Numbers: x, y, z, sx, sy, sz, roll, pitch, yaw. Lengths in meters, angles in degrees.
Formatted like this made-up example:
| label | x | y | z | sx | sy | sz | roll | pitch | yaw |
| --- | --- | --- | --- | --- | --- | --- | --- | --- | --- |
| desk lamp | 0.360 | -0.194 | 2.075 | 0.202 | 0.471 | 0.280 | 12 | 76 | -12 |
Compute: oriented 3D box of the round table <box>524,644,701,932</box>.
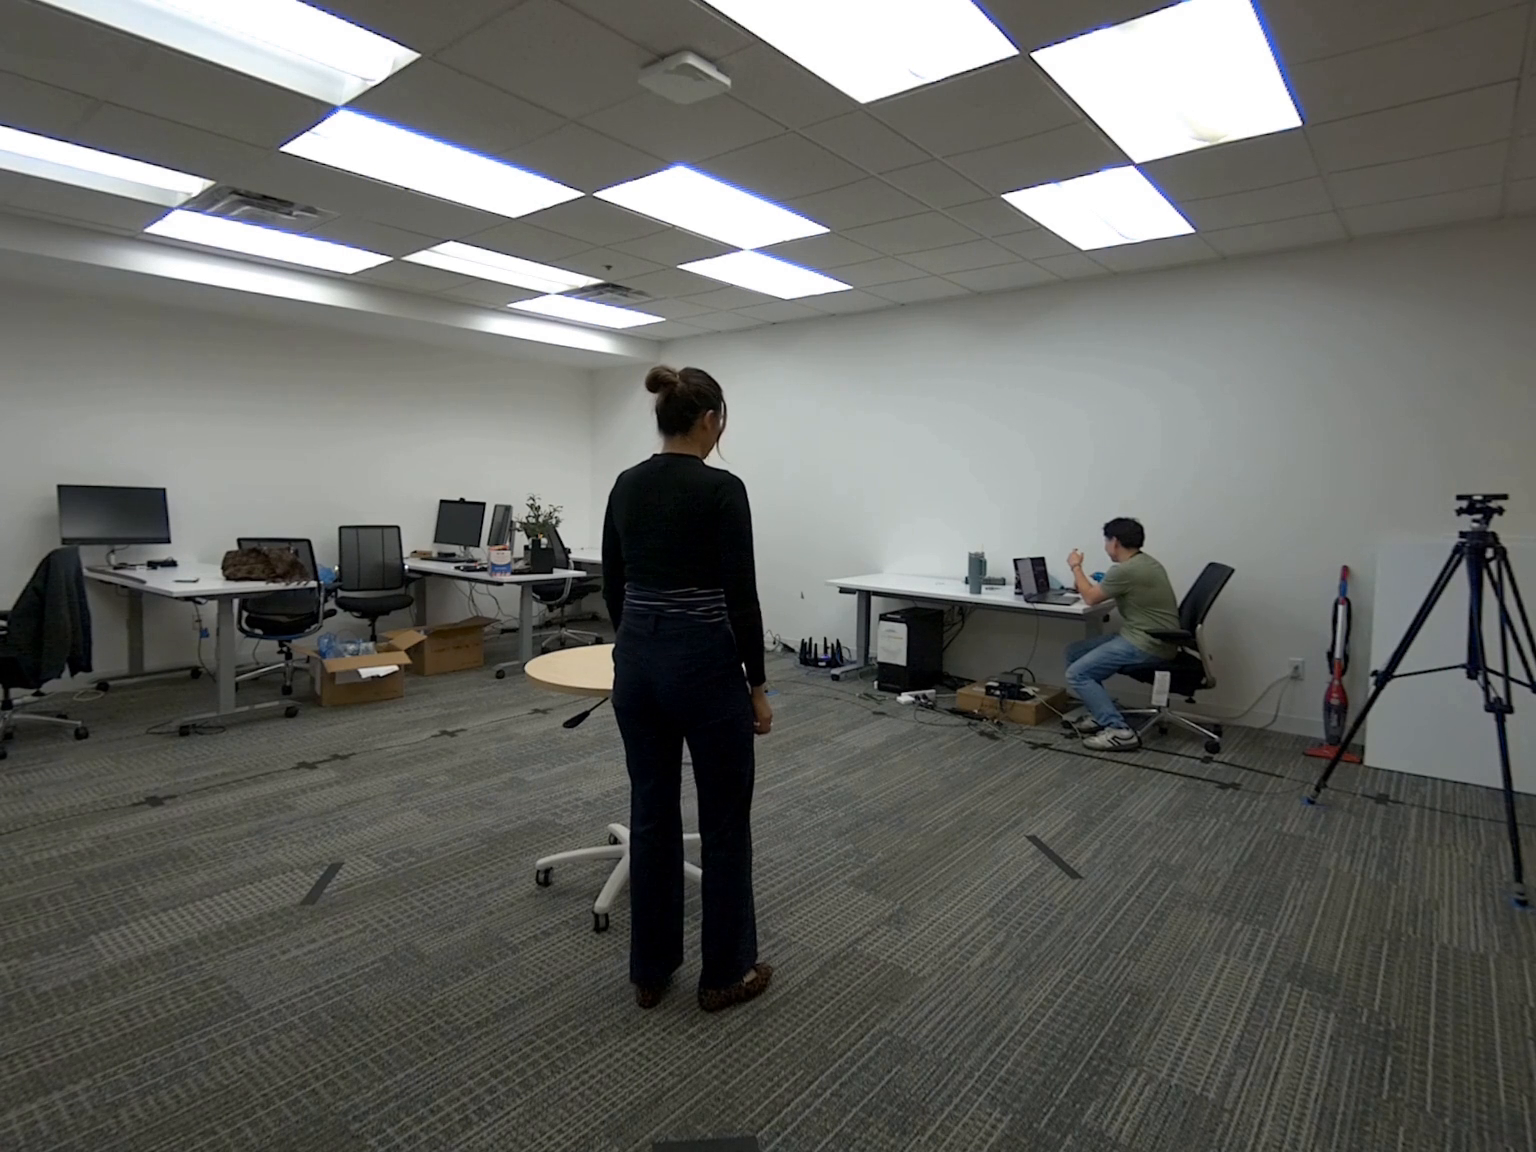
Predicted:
| label | x | y | z | sx | sy | sz | roll | pitch | yaw |
| --- | --- | --- | --- | --- | --- | --- | --- | --- | --- |
| round table | -0.462 | 0.689 | 2.954 | 0.763 | 0.791 | 0.768 | 0 | 4 | -2 |
